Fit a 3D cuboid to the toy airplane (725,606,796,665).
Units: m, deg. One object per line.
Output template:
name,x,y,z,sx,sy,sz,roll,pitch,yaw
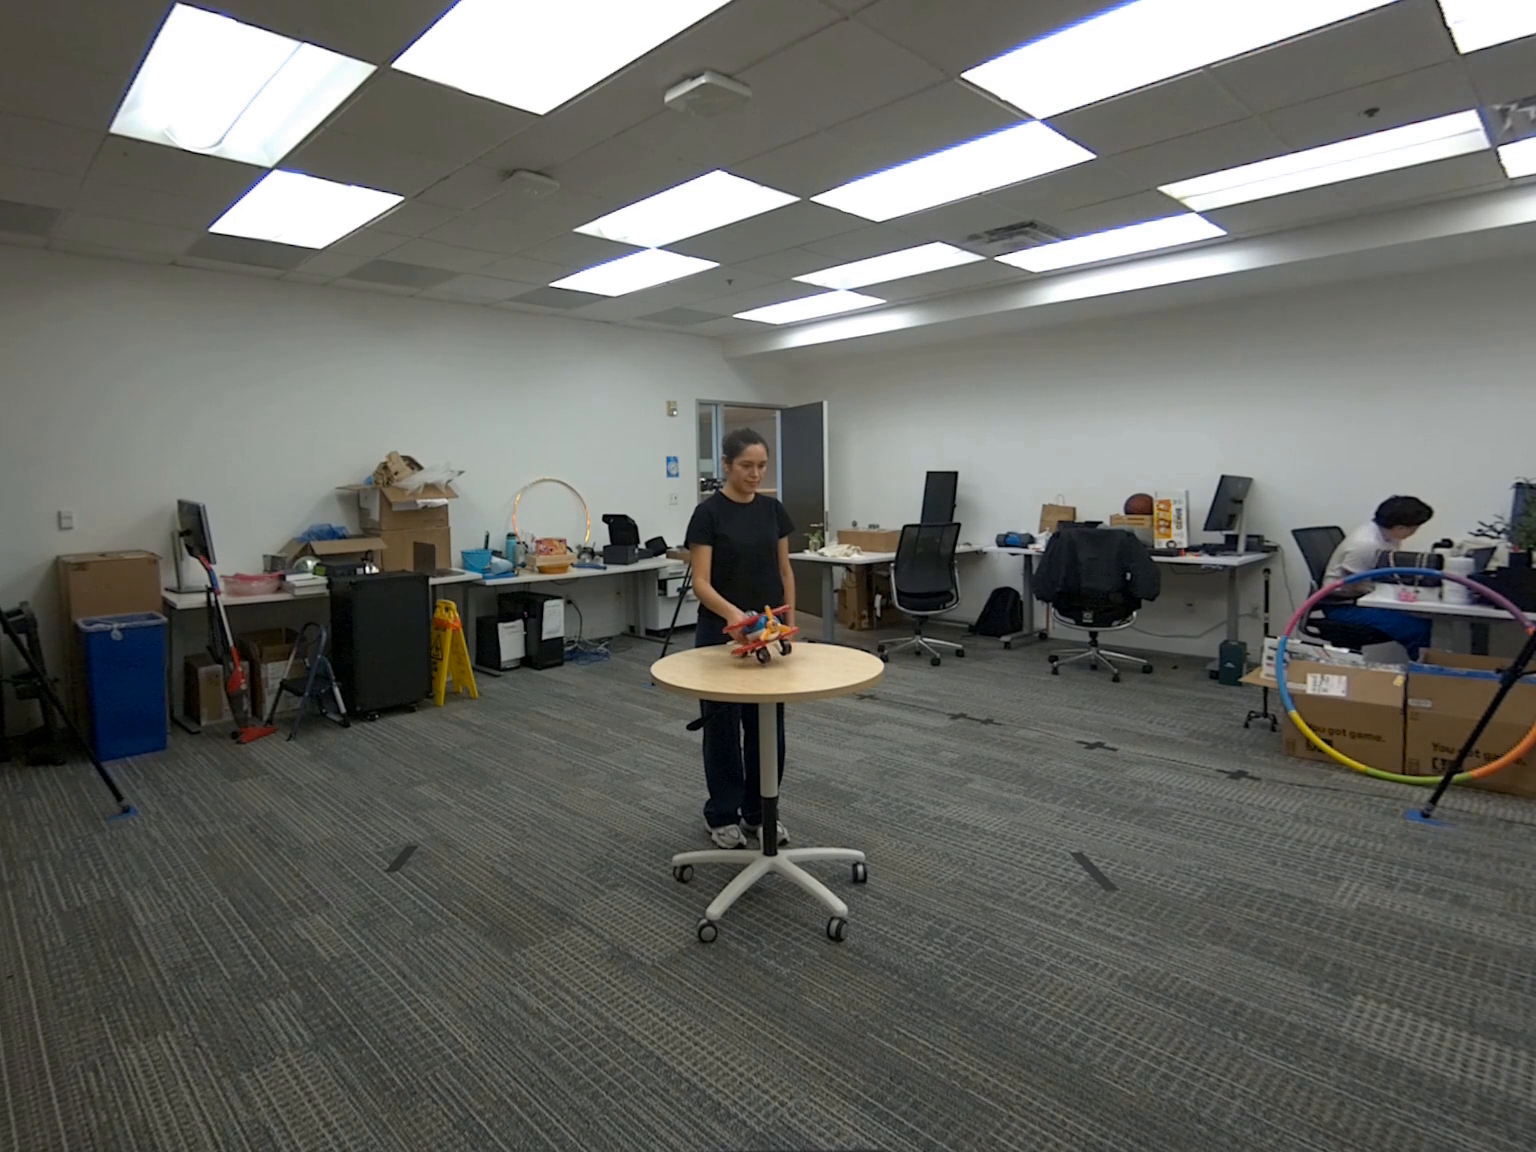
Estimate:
toy airplane,-0.056,0.199,2.876,0.265,0.155,0.247,-8,10,32
